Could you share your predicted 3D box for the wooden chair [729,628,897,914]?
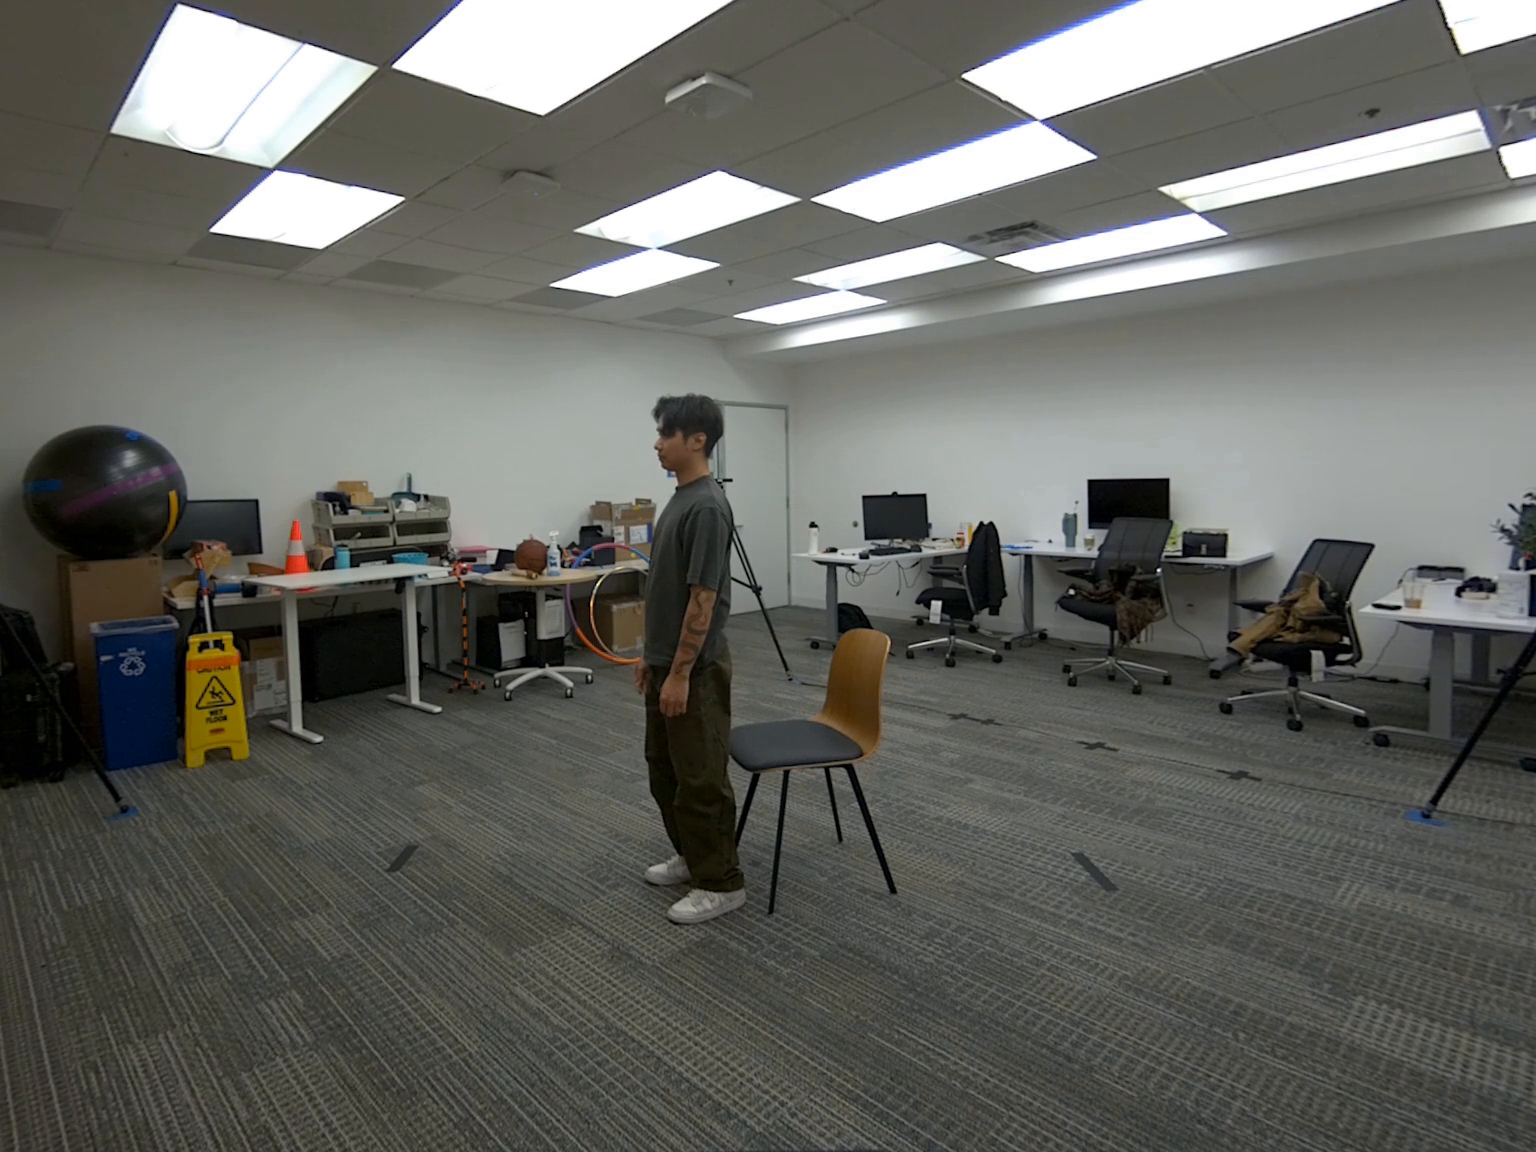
[{"bbox_3d":[0.134,0.629,2.982,0.514,0.875,0.487,2,4,-18],"label":"wooden chair"}]
